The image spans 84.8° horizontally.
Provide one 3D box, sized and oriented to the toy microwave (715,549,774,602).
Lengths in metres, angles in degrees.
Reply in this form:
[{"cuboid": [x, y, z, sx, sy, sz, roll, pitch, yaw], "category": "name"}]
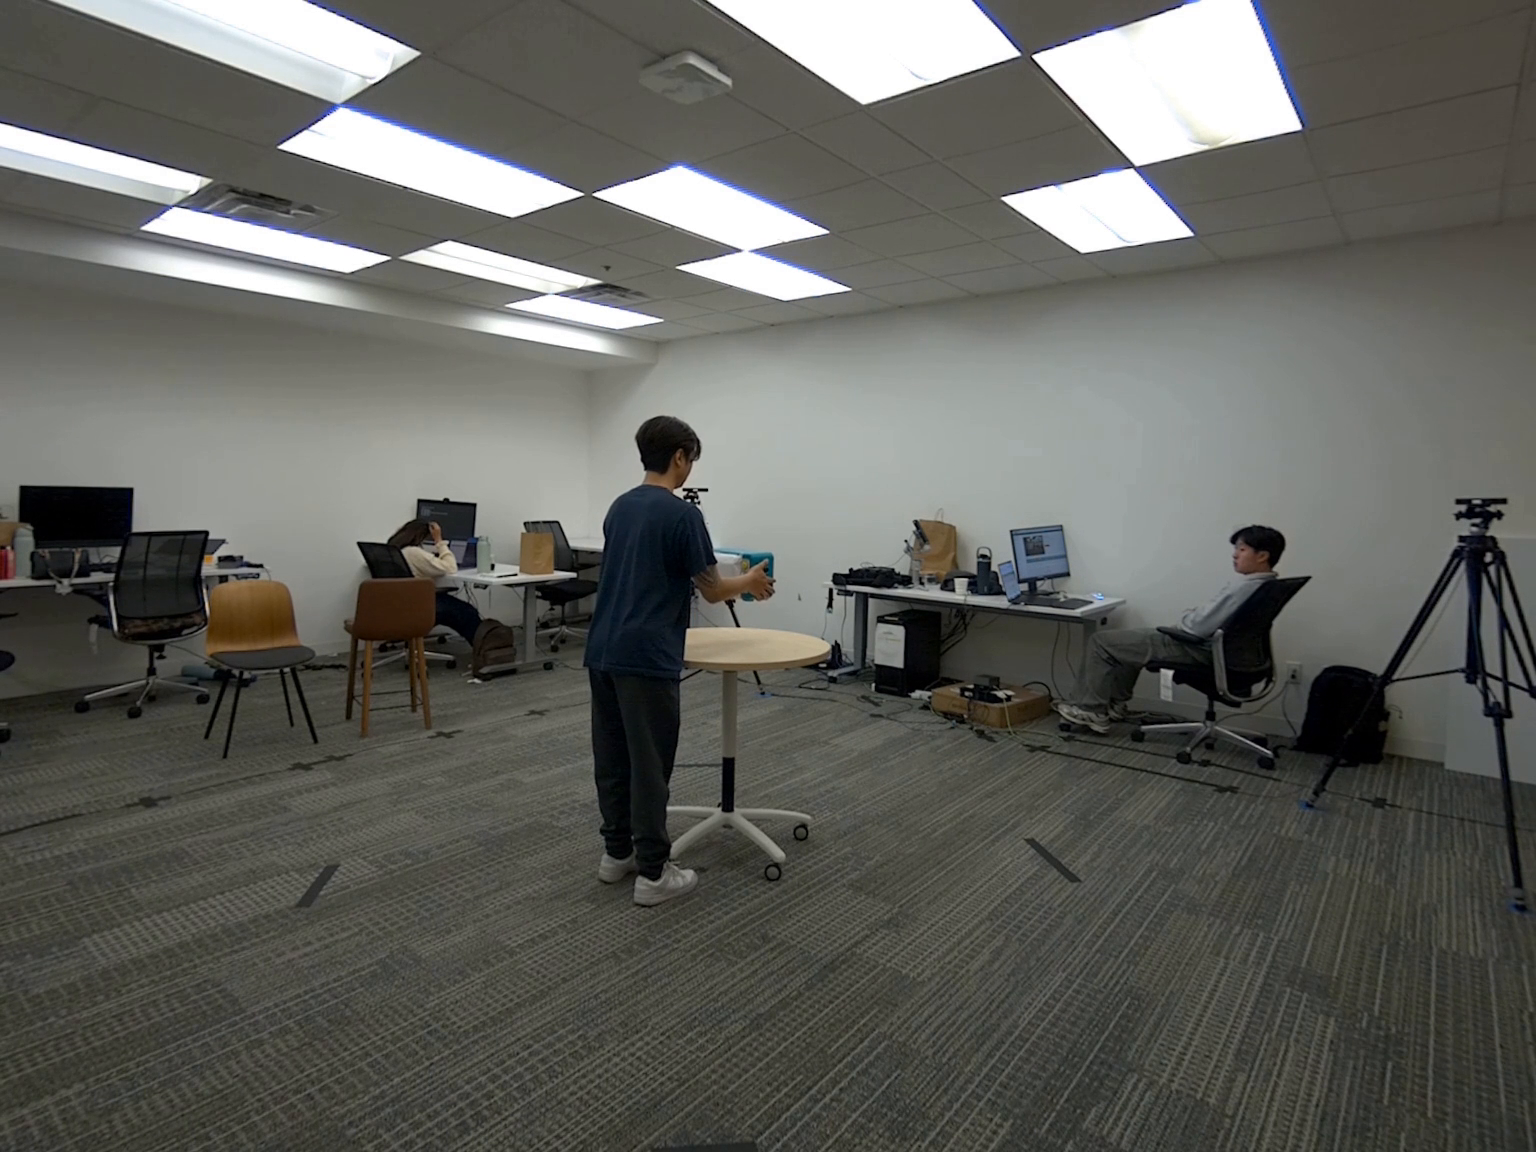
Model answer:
[{"cuboid": [-0.139, -0.009, 3.304, 0.296, 0.183, 0.148, 6, 6, 43], "category": "toy microwave"}]
